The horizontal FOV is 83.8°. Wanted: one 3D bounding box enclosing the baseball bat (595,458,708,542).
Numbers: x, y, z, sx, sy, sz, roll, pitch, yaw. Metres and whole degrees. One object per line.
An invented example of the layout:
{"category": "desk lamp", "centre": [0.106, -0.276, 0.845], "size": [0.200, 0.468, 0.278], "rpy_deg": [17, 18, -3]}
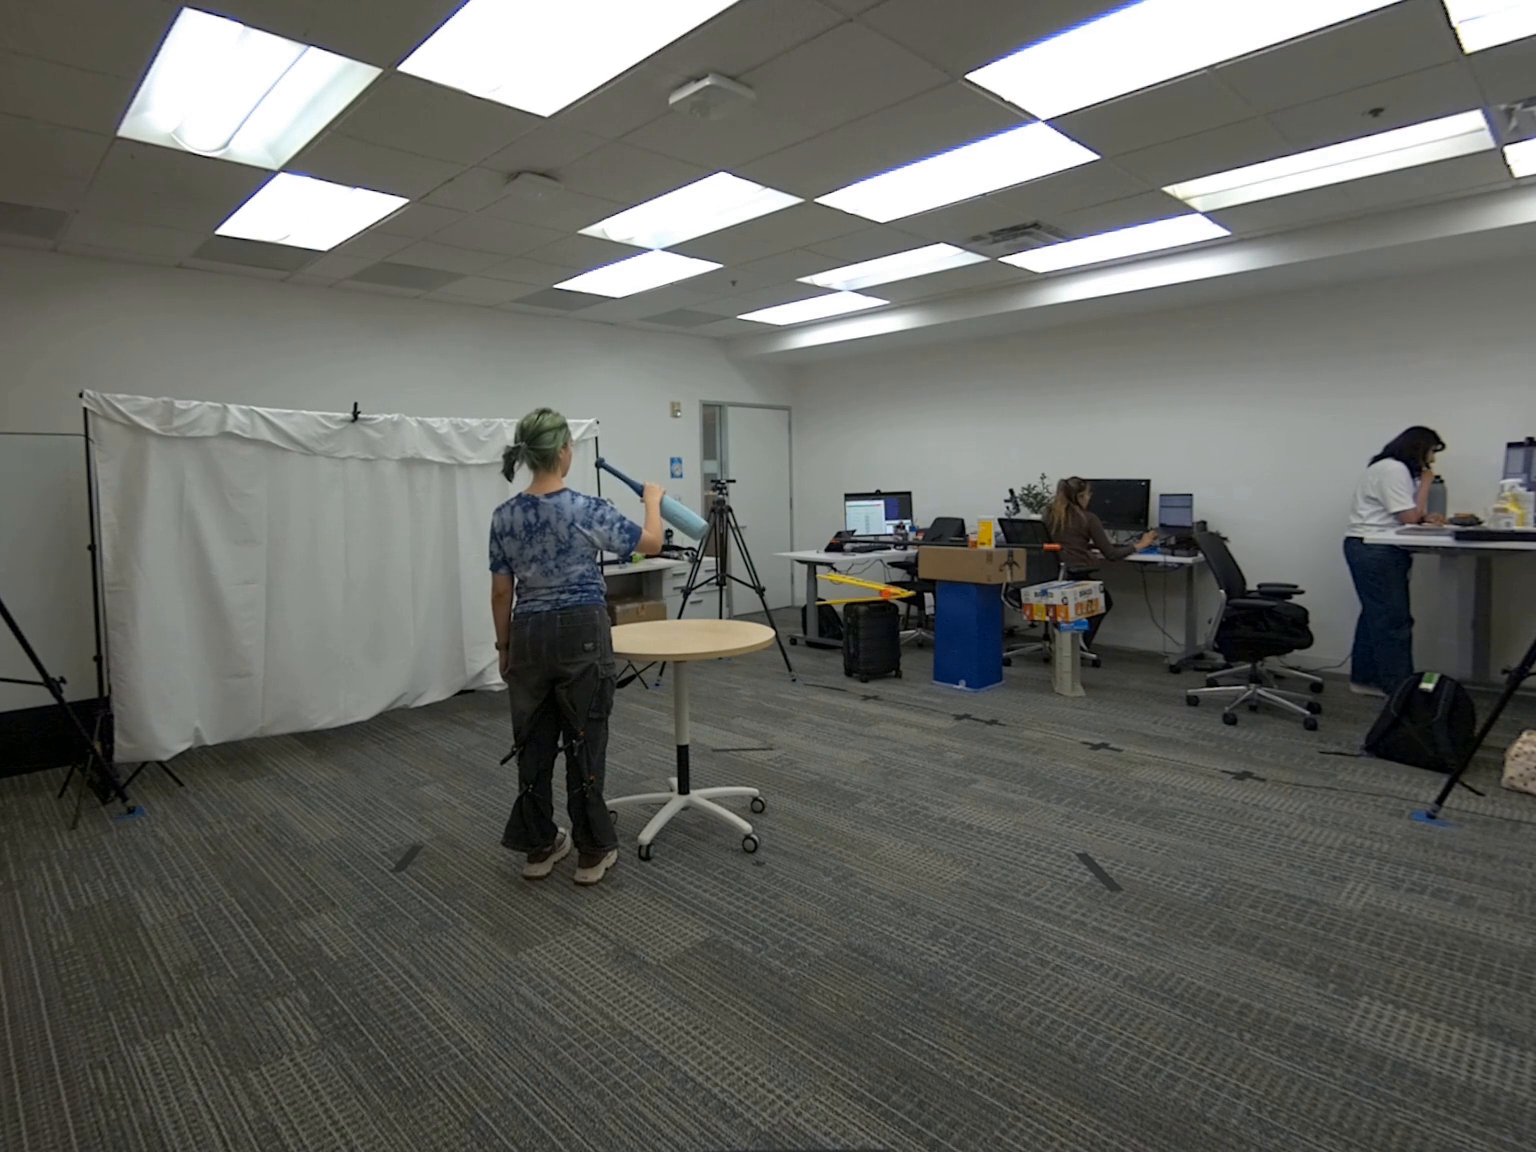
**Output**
{"category": "baseball bat", "centre": [-0.471, -0.314, 3.373], "size": [0.555, 0.088, 0.087], "rpy_deg": [34, 15, 17]}
